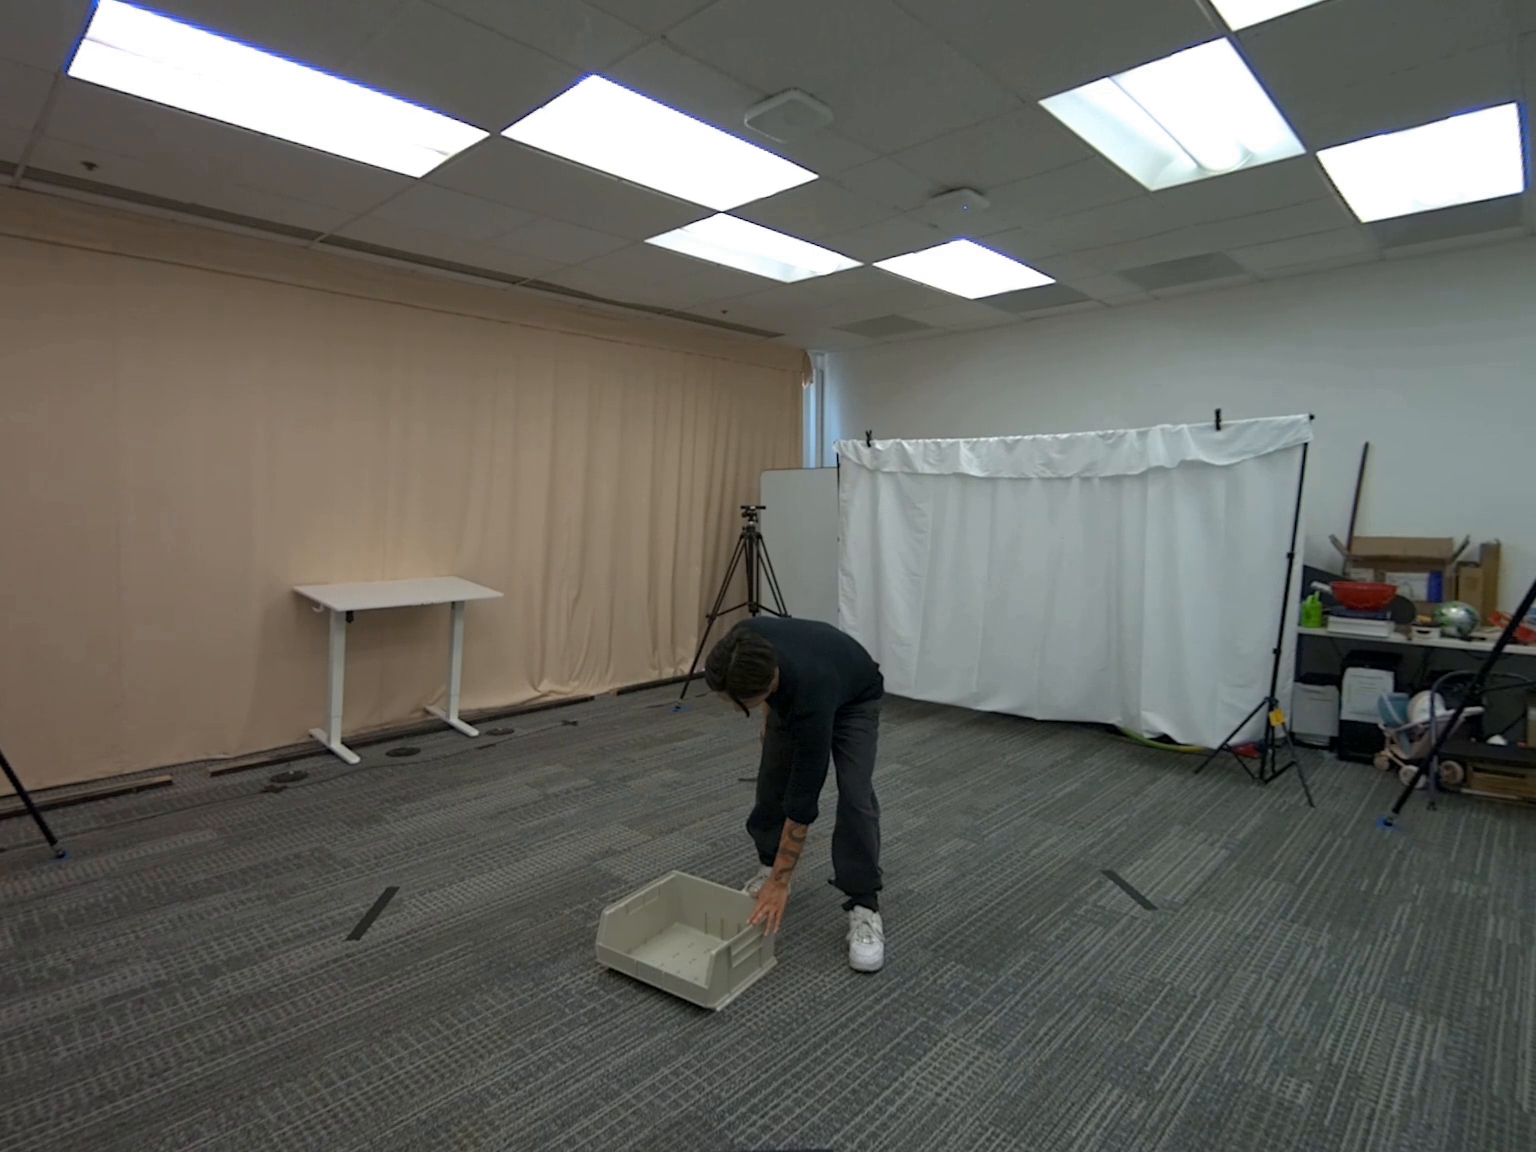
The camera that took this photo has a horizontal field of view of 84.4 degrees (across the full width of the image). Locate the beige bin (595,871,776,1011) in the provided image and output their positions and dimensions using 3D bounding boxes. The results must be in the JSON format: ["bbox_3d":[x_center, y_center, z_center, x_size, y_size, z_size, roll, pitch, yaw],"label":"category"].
[{"bbox_3d":[-0.239,1.096,2.537,0.435,0.188,0.366,2,4,34],"label":"beige bin"}]
